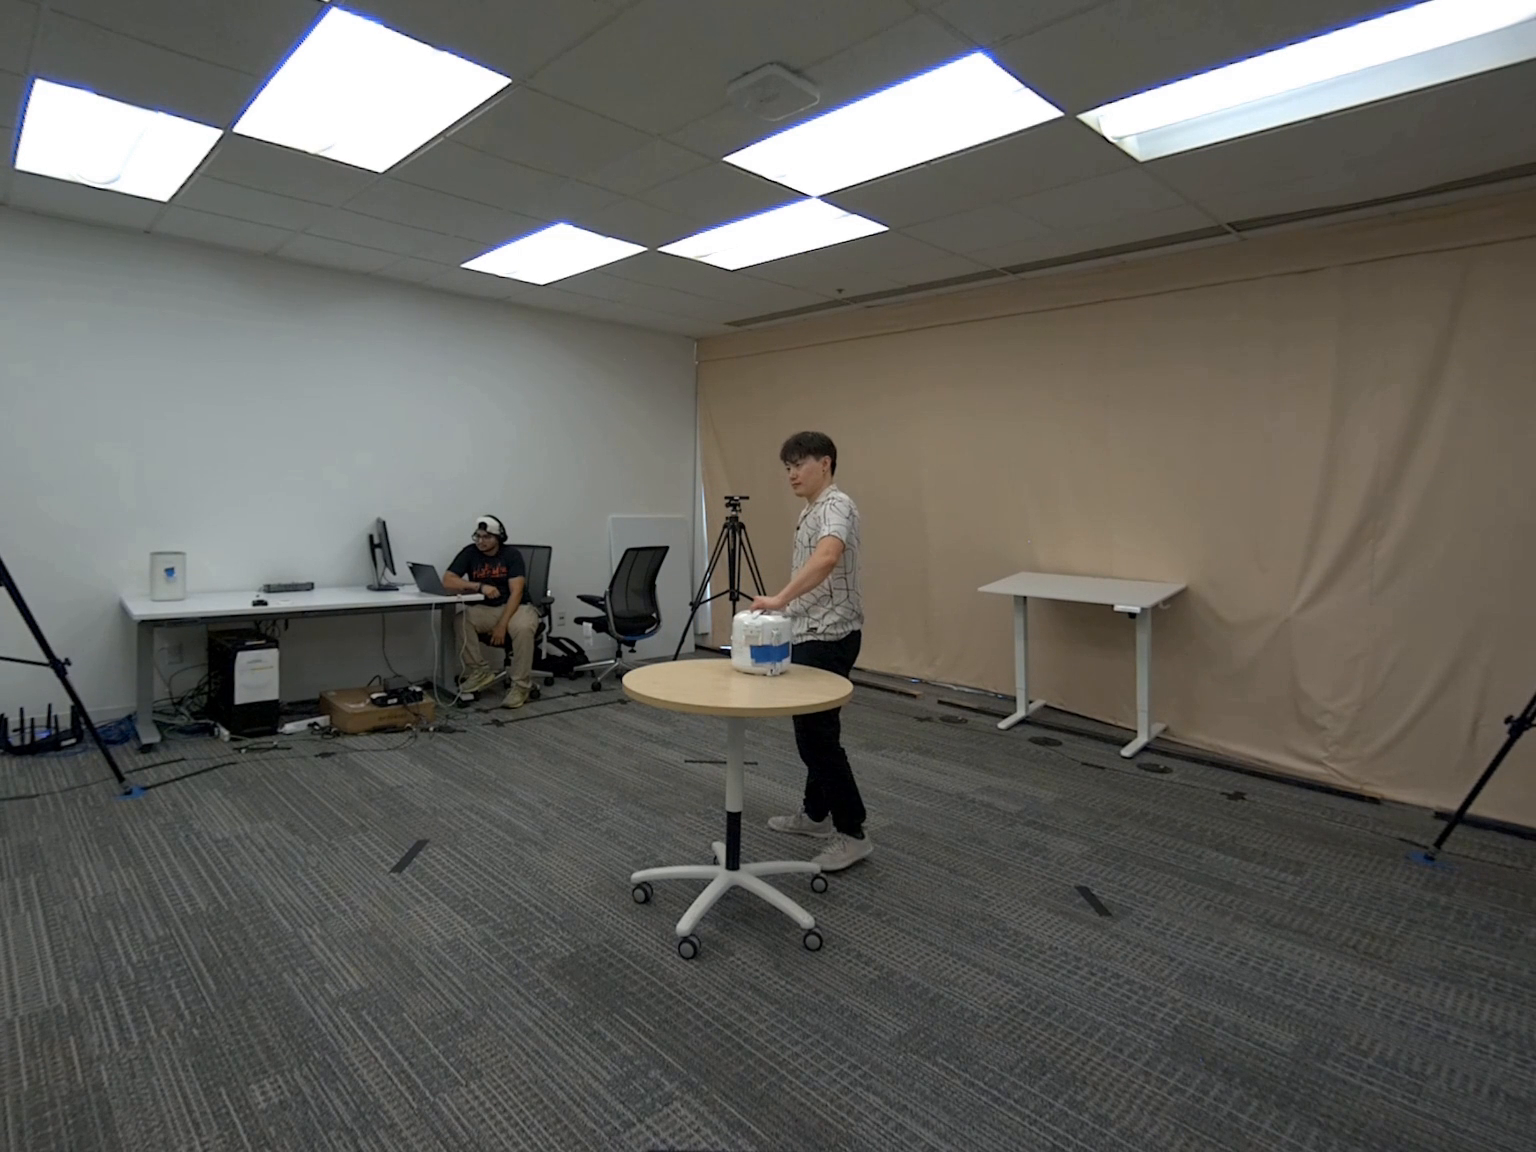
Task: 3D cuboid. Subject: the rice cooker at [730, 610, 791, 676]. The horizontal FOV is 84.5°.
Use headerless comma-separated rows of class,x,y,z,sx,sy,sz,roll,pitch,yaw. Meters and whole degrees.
rice cooker,-0.029,0.221,2.975,0.221,0.232,0.217,4,4,21
